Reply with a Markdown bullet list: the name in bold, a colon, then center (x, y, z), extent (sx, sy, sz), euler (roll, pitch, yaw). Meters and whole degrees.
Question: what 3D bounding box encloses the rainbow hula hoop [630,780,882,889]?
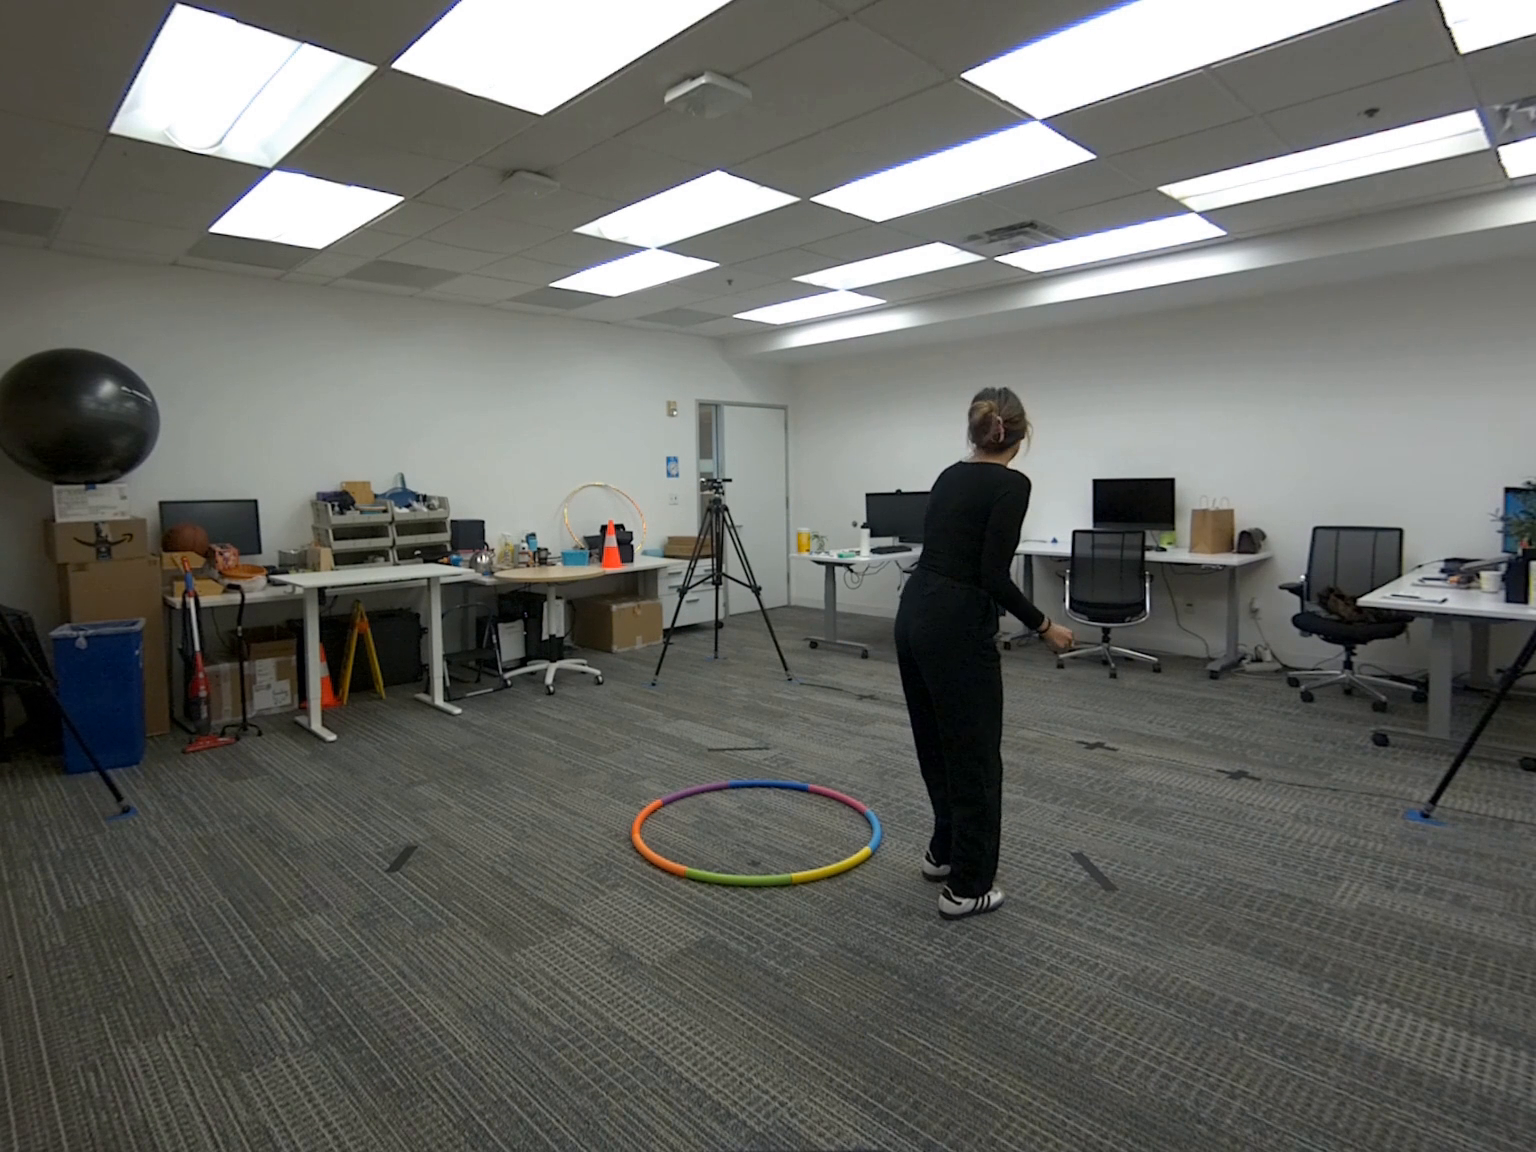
- **rainbow hula hoop**: center (-0.045, 0.981, 3.400), extent (0.978, 0.035, 0.984), euler (-1, 6, -2)
